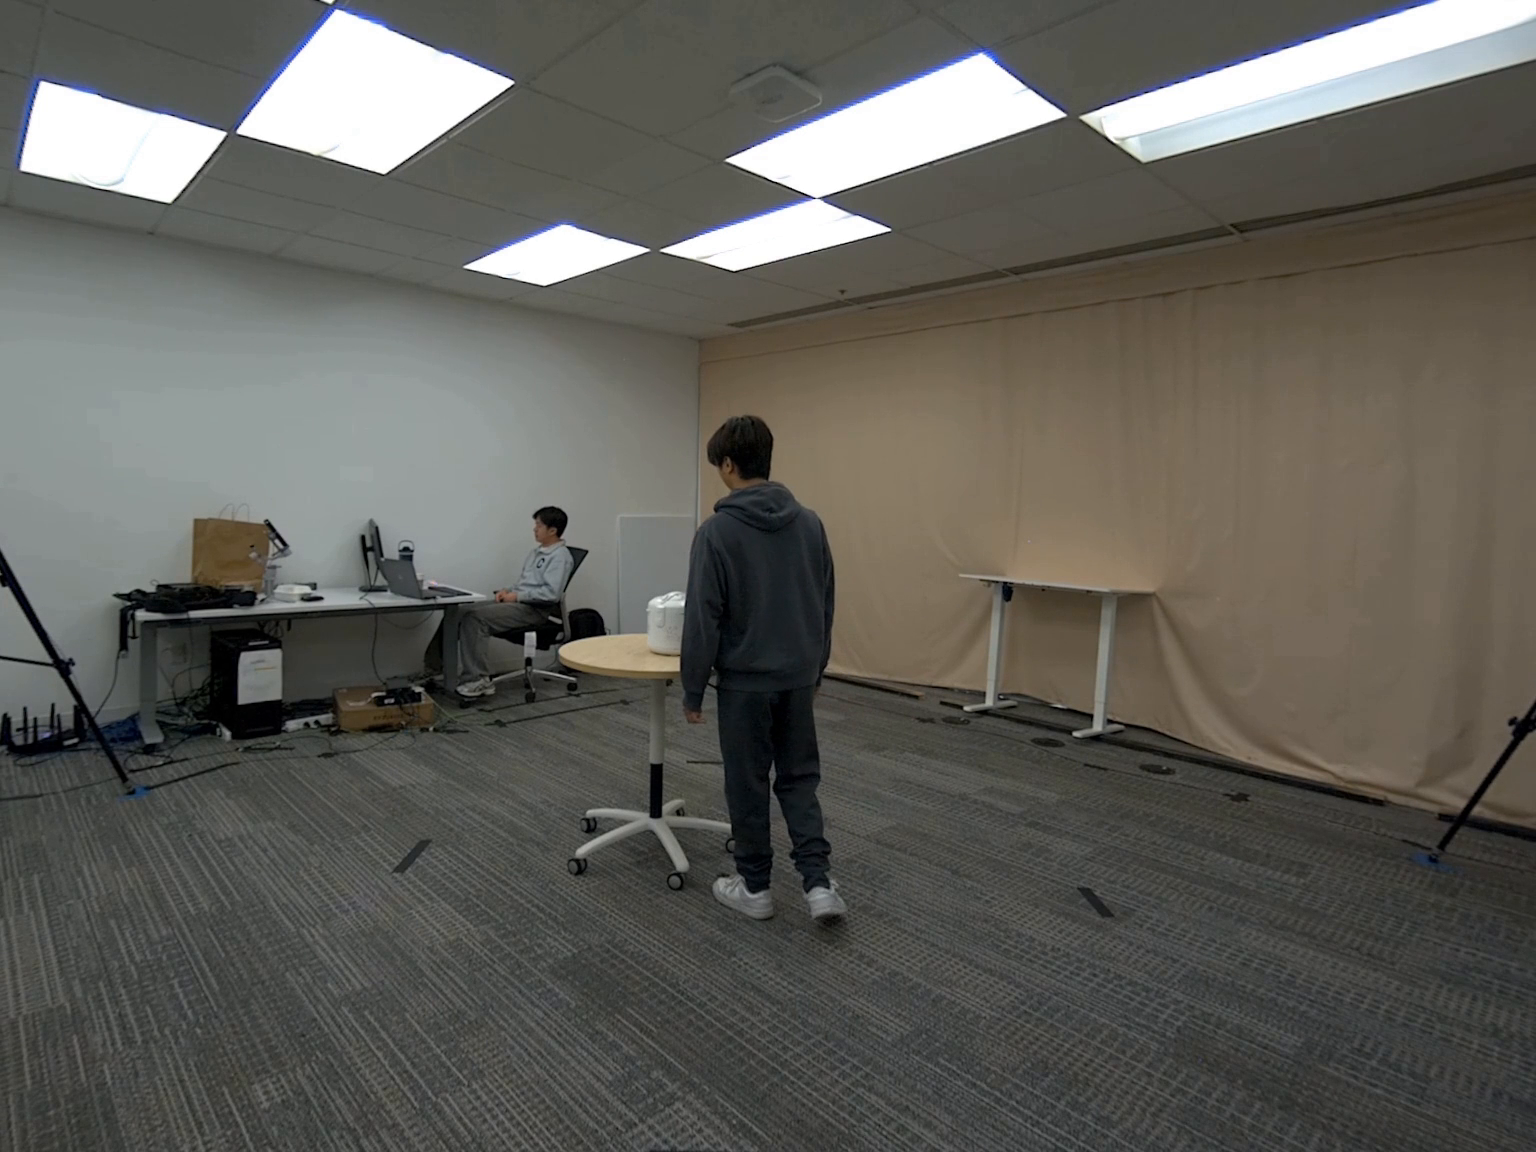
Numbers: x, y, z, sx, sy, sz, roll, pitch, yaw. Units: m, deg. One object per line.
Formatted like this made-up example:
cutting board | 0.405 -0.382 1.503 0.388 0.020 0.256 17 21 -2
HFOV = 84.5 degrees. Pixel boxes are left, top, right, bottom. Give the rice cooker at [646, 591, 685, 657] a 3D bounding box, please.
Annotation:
rice cooker | -0.366 0.179 3.234 0.222 0.232 0.216 4 4 29
